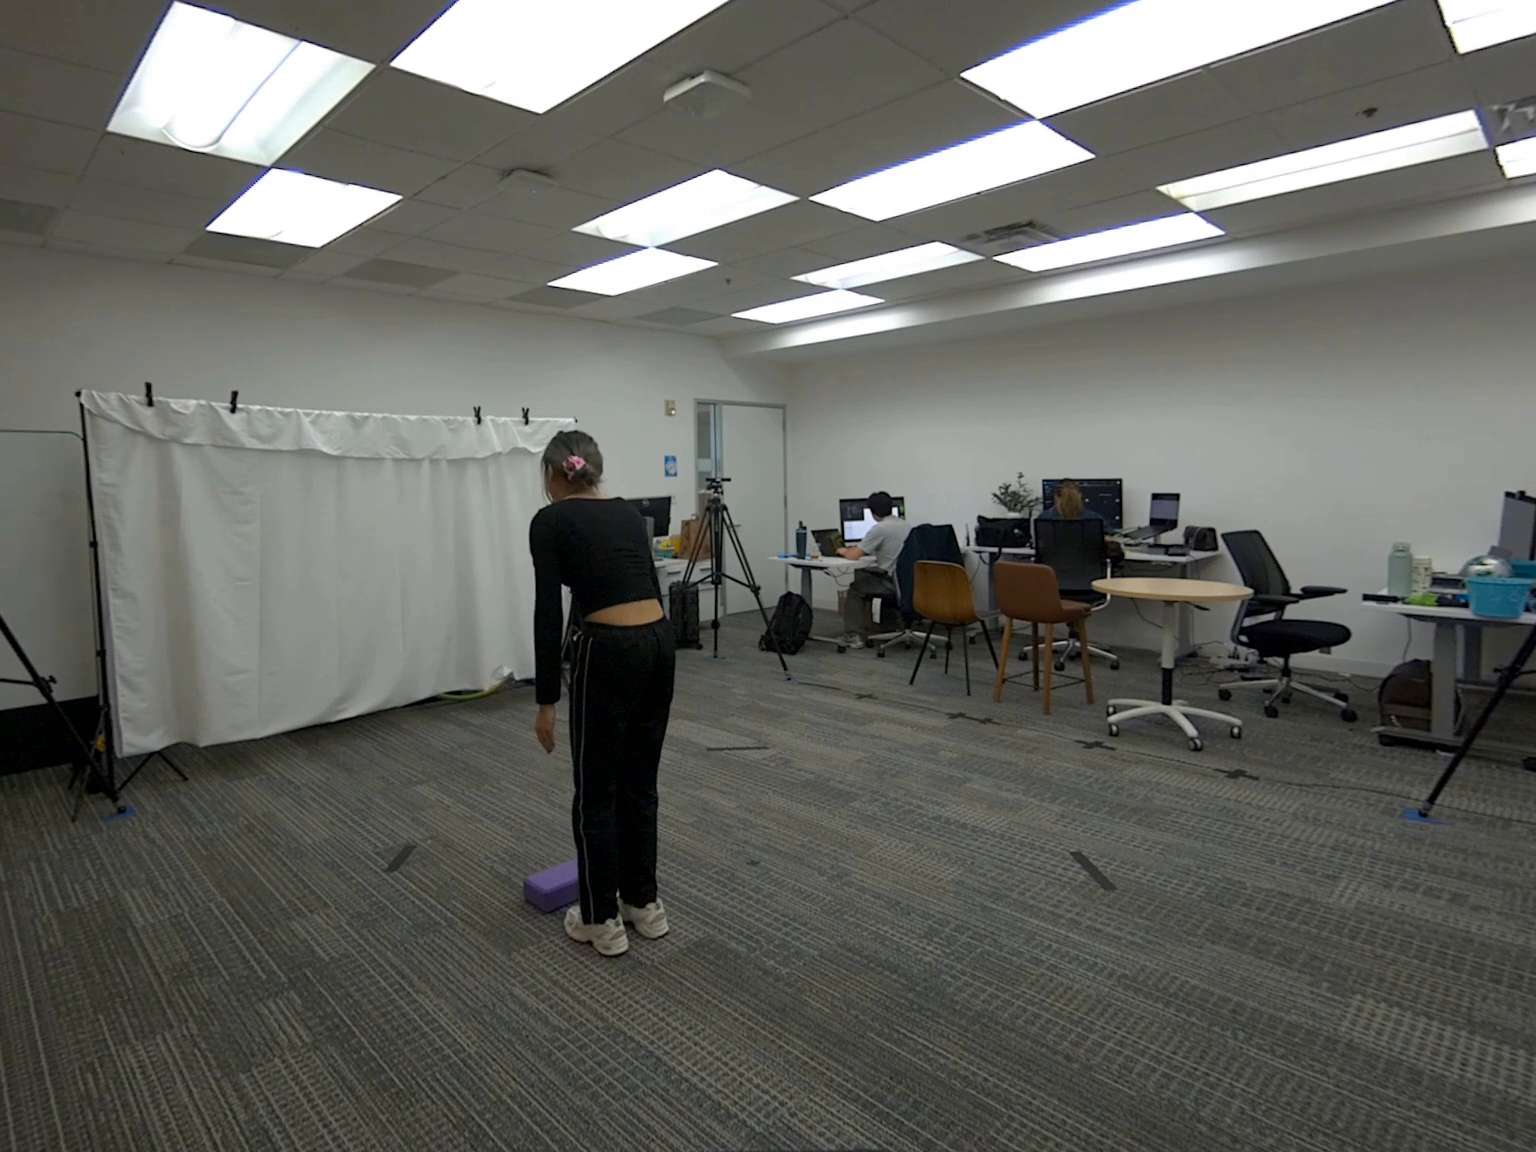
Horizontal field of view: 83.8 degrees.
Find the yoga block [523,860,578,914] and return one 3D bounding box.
[{"bbox_3d":[-0.688,1.039,2.883,0.223,0.076,0.153,-7,7,-43],"label":"yoga block"}]
